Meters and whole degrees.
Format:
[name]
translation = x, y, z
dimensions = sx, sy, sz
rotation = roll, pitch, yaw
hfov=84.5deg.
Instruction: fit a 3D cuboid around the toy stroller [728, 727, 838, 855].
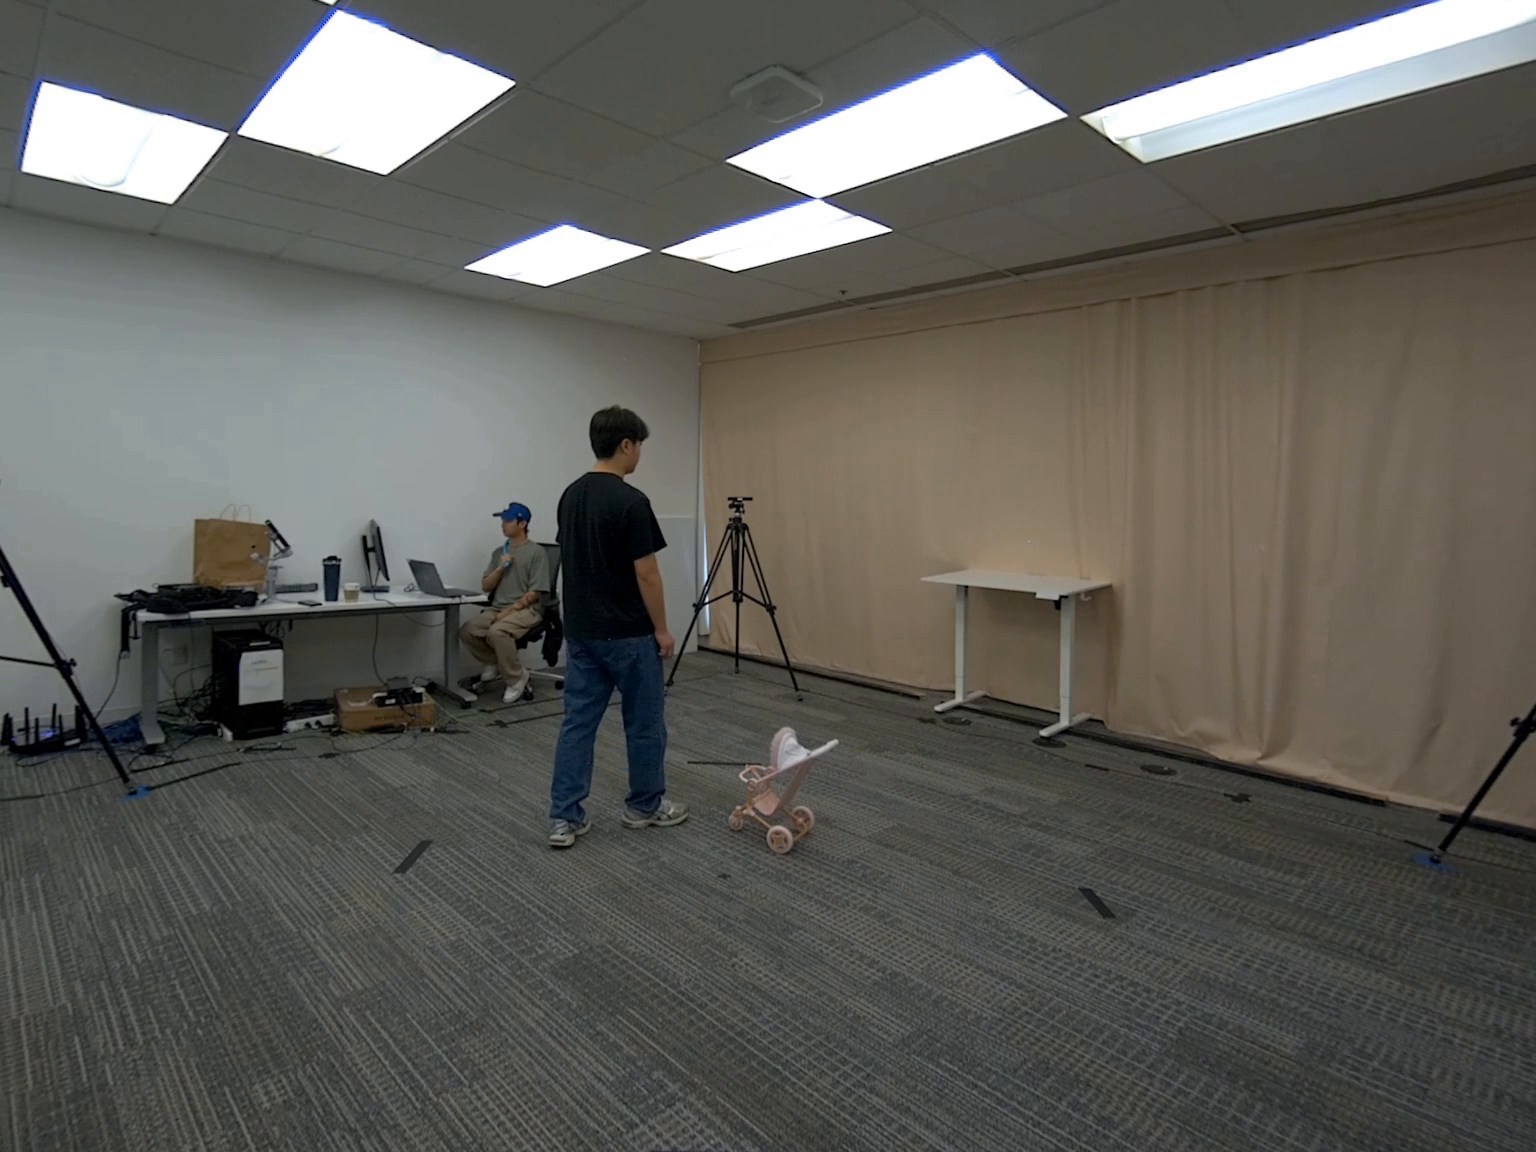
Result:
[toy stroller]
translation = 0.037, 0.858, 3.453
dimensions = 0.350, 0.532, 0.276
rotation = 22, 12, 27
